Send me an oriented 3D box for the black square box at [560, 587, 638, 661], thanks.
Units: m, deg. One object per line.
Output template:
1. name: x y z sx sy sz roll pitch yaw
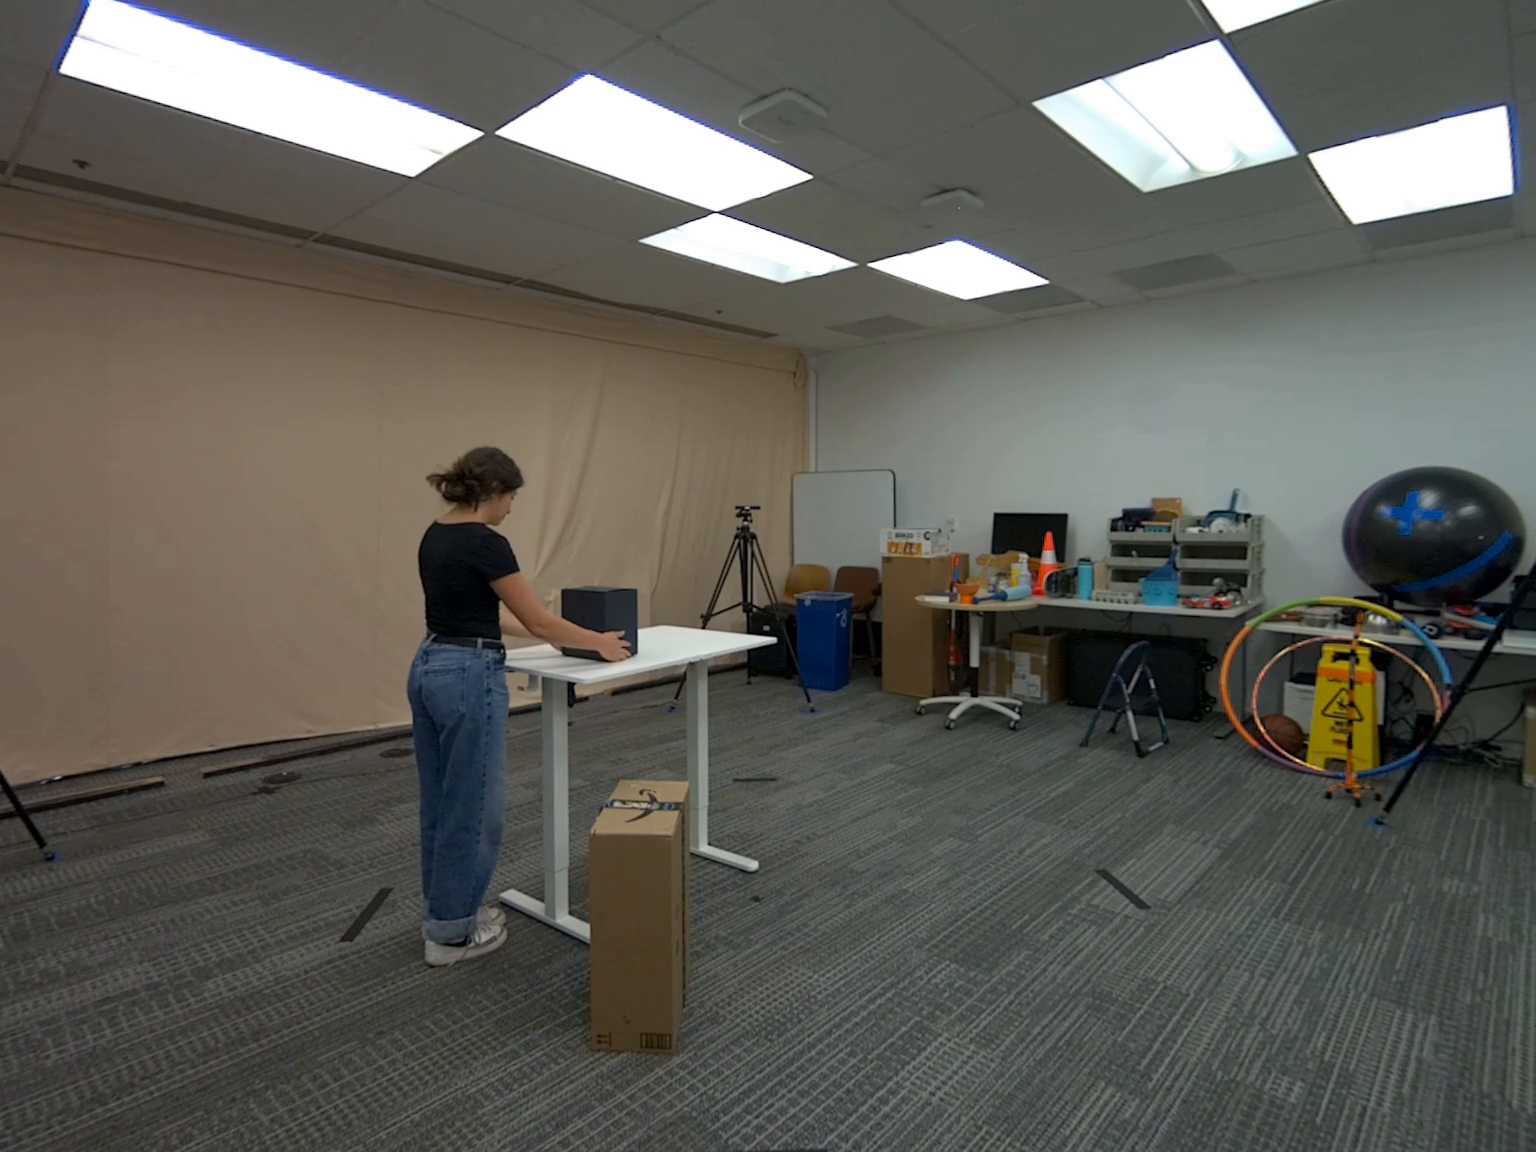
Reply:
1. black square box: -0.583 0.149 2.869 0.224 0.227 0.151 2 4 41
